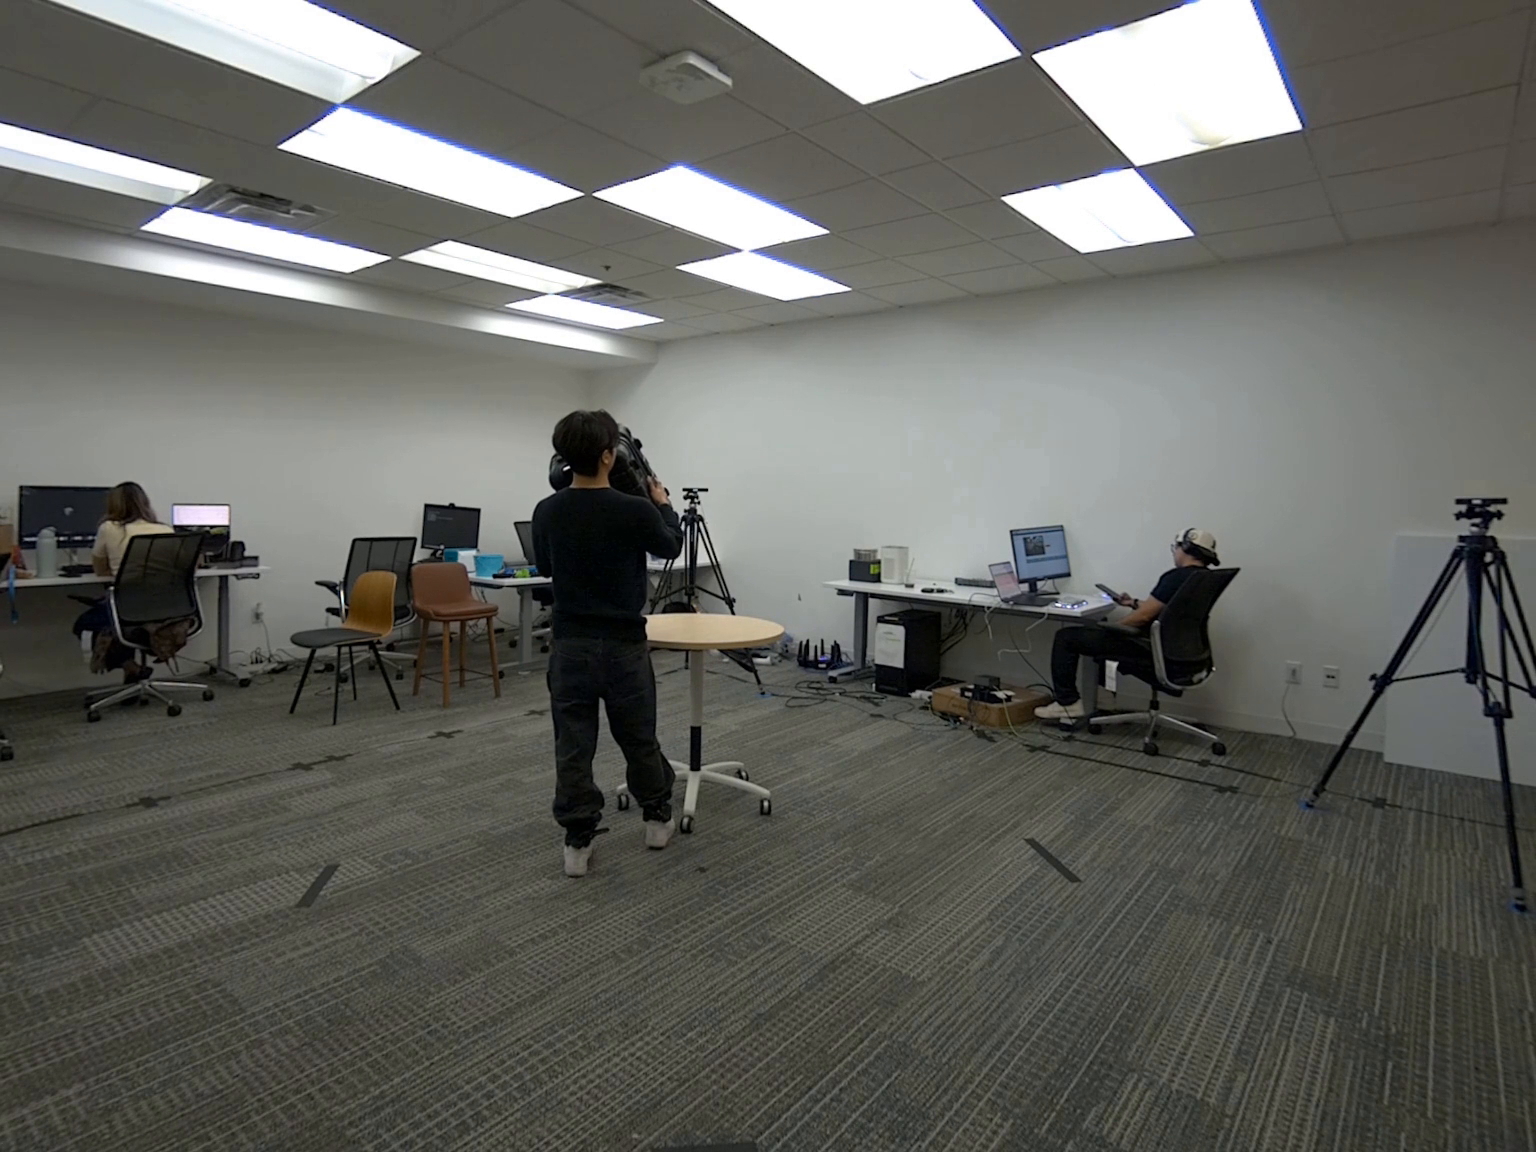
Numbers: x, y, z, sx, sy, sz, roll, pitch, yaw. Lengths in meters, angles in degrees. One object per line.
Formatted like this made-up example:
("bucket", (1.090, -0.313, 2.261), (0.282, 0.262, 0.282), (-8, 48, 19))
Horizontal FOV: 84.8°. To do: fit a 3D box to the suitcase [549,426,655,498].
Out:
("suitcase", (-0.636, -0.331, 3.469), (0.379, 0.529, 0.255), (-20, 35, 14))
